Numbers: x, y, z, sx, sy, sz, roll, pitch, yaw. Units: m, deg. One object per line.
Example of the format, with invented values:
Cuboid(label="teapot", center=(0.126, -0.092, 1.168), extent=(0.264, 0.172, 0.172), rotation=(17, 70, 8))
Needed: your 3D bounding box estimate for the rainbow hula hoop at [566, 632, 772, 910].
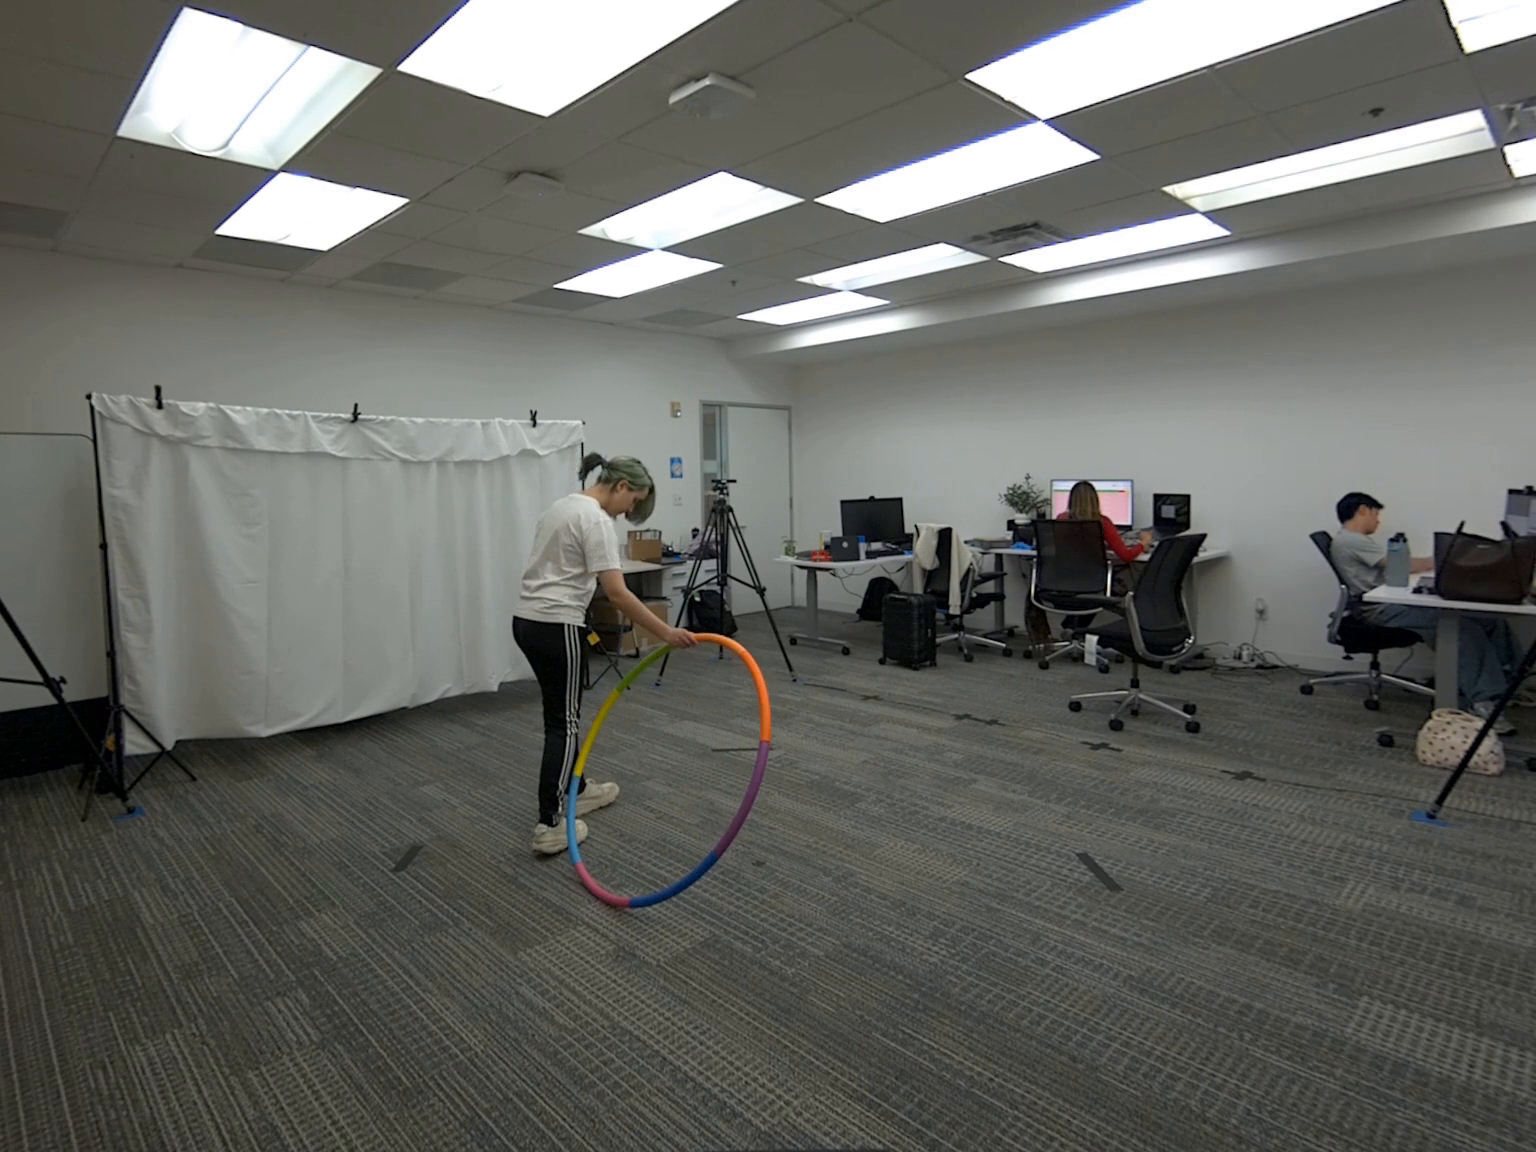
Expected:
Cuboid(label="rainbow hula hoop", center=(-0.378, 0.649, 3.004), extent=(1.009, 0.985, 0.034), rotation=(5, -25, 49))
